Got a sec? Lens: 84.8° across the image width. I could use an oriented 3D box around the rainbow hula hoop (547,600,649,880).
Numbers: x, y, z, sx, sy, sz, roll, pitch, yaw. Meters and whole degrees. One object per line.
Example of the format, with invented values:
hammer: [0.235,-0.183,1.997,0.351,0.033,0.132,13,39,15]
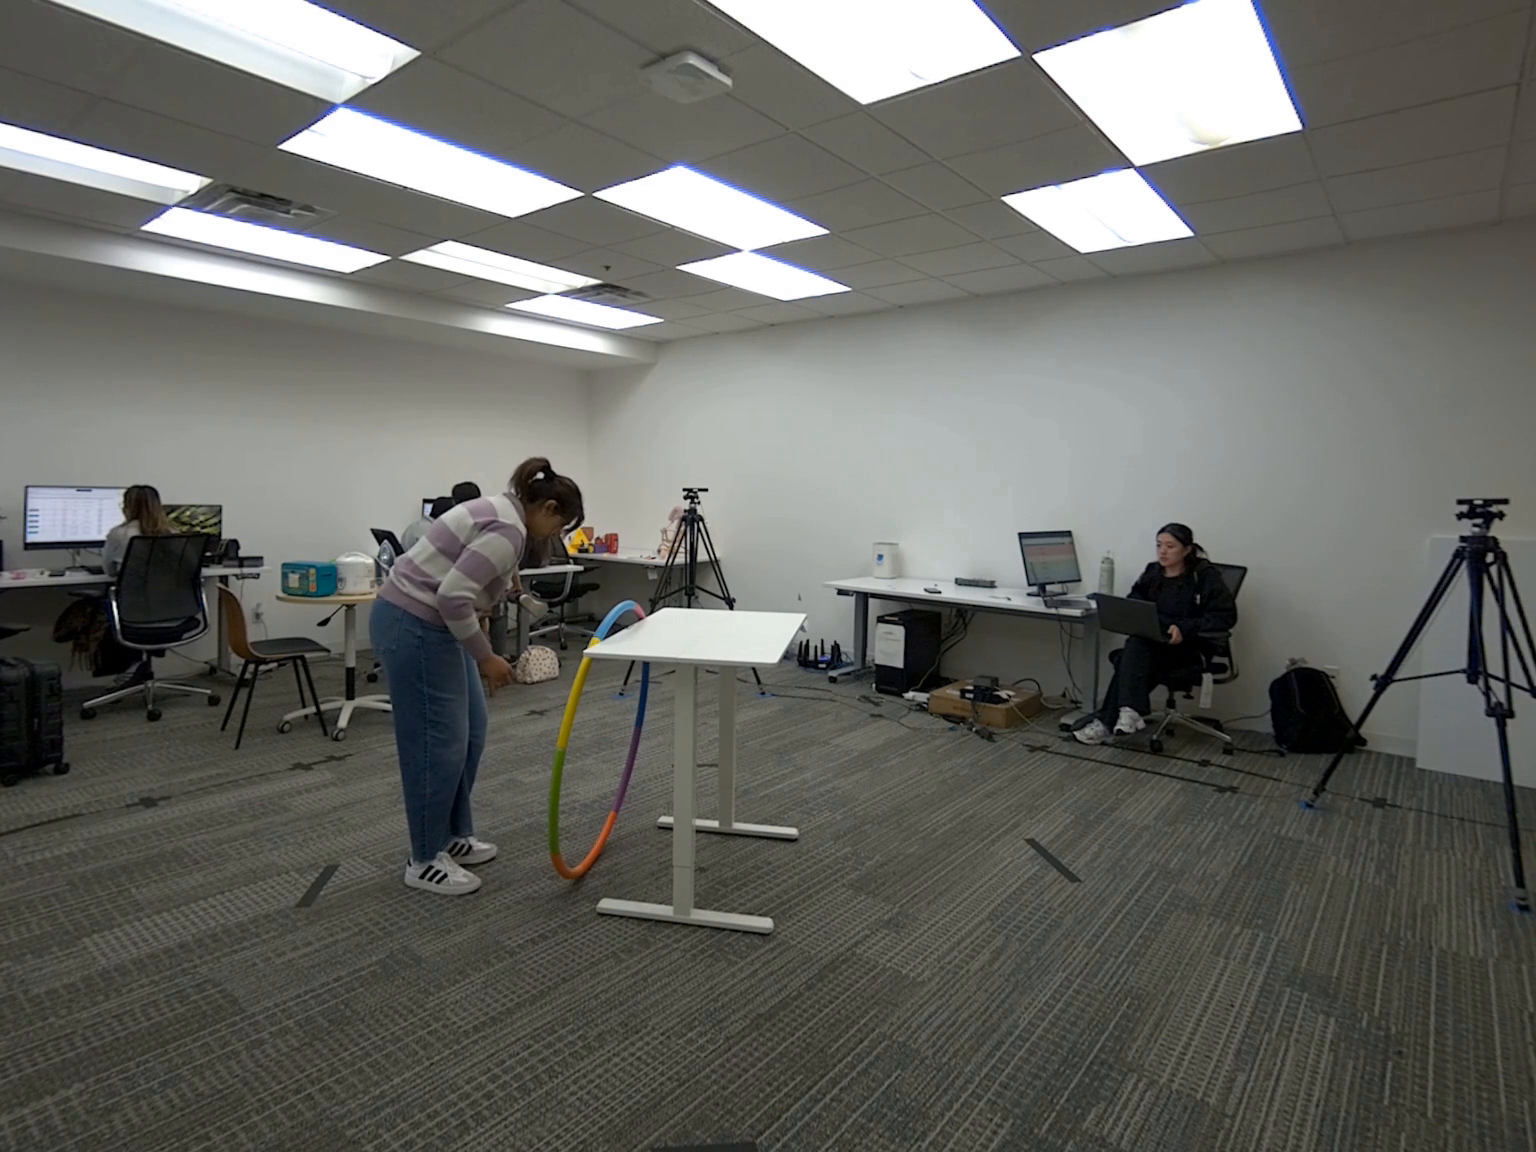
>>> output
rainbow hula hoop: [-0.602,0.586,3.092,0.036,0.975,0.972,9,5,6]
